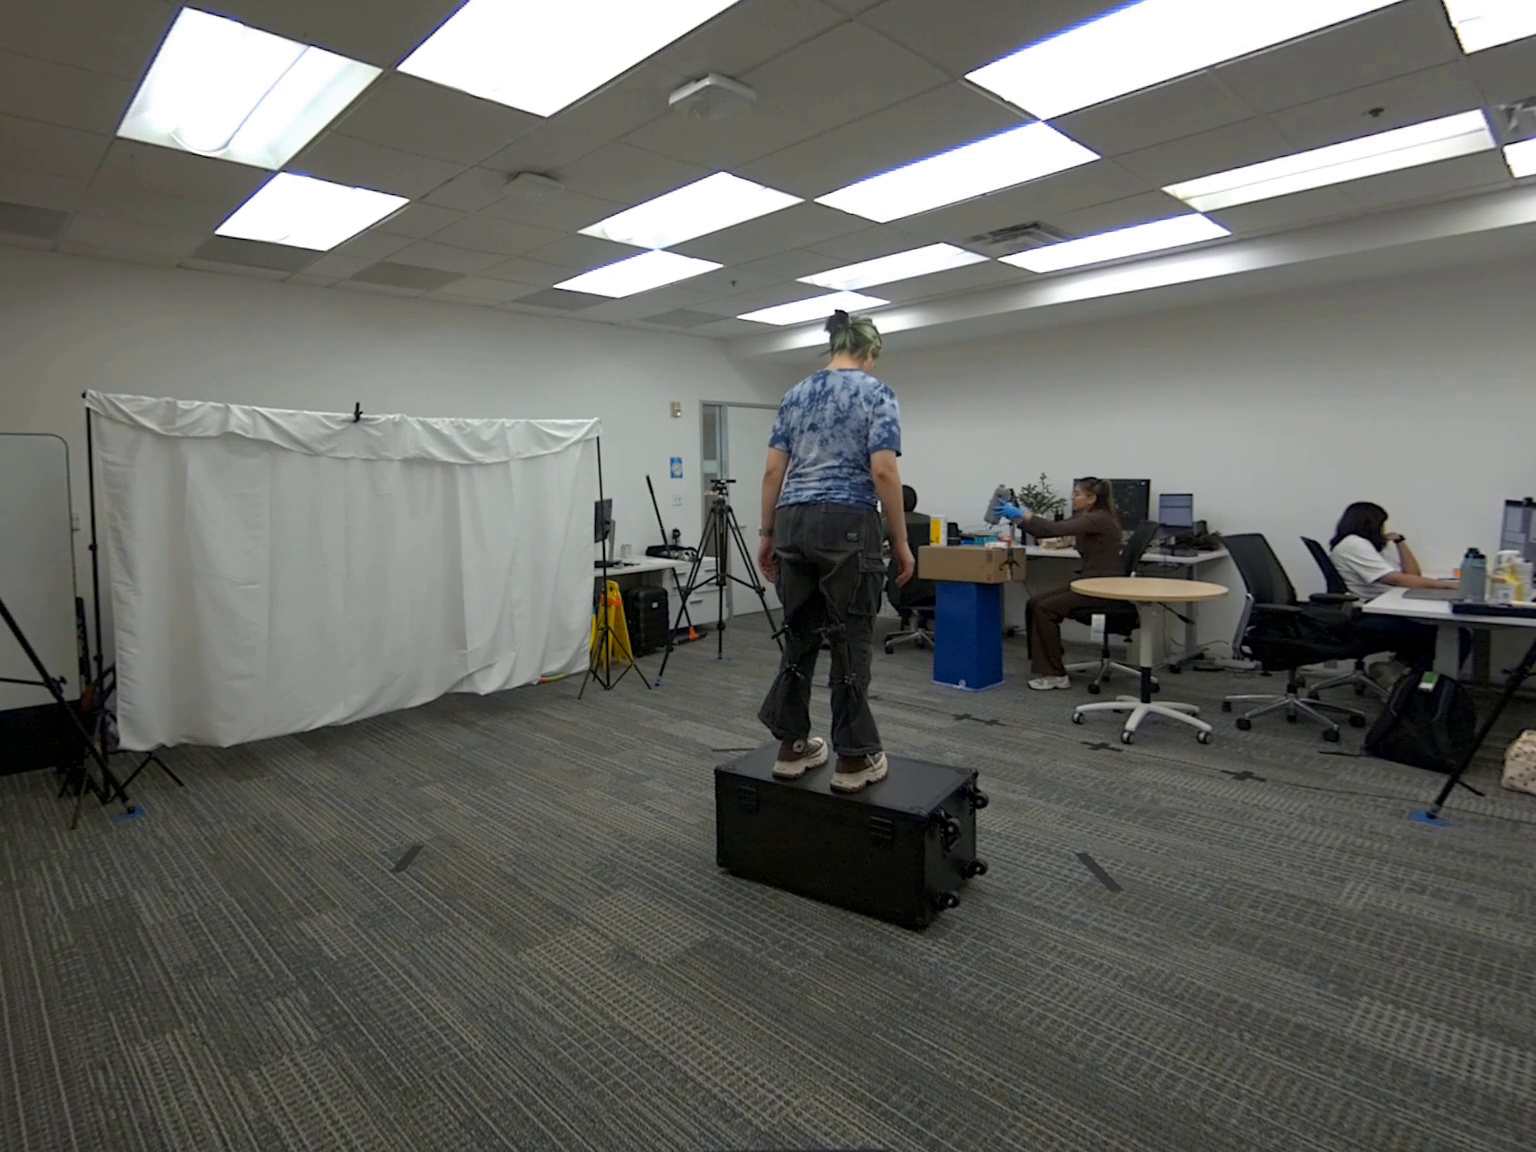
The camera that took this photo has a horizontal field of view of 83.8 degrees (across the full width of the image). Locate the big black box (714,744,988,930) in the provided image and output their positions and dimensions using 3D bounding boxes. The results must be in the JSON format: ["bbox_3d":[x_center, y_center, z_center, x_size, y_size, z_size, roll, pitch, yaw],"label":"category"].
[{"bbox_3d":[0.298,0.867,2.983,0.886,0.395,0.509,3,6,34],"label":"big black box"}]
